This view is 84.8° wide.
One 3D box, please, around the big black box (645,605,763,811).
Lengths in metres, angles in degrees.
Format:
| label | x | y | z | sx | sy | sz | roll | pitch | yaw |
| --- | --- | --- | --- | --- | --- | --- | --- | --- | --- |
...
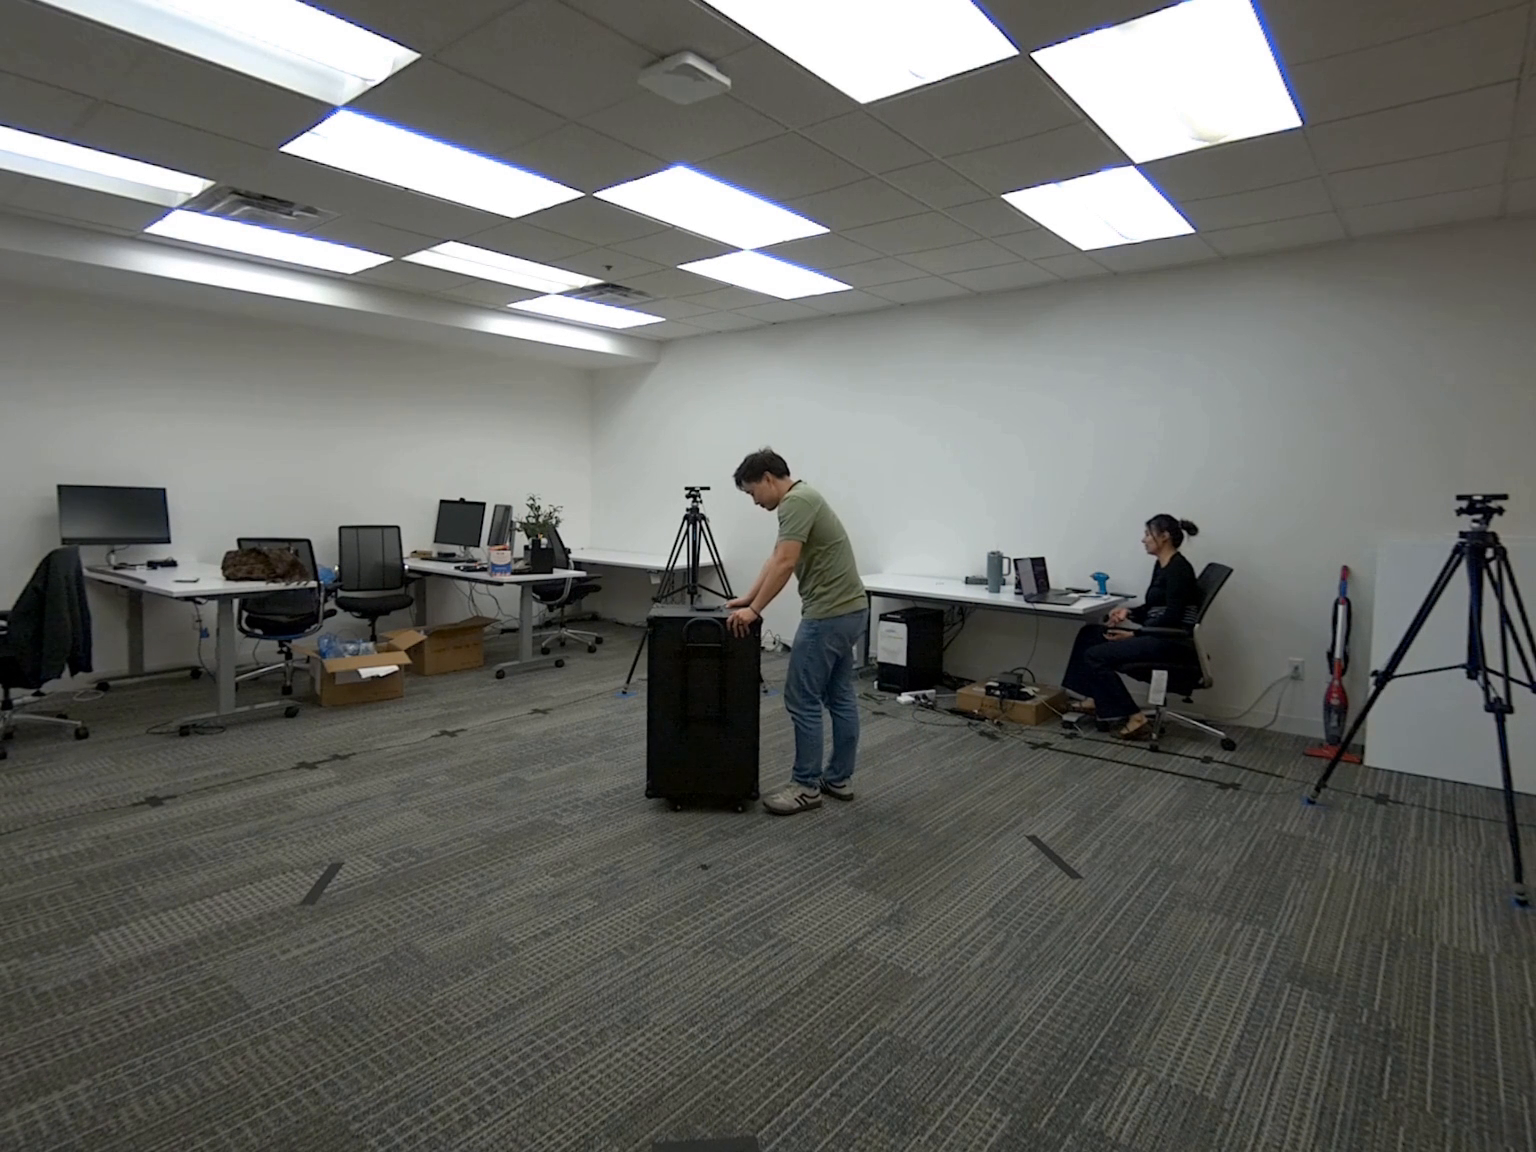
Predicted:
| label | x | y | z | sx | sy | sz | roll | pitch | yaw |
| --- | --- | --- | --- | --- | --- | --- | --- | --- | --- |
| big black box | -0.290 | 0.582 | 3.755 | 0.521 | 0.858 | 0.398 | 1 | 5 | 0 |
